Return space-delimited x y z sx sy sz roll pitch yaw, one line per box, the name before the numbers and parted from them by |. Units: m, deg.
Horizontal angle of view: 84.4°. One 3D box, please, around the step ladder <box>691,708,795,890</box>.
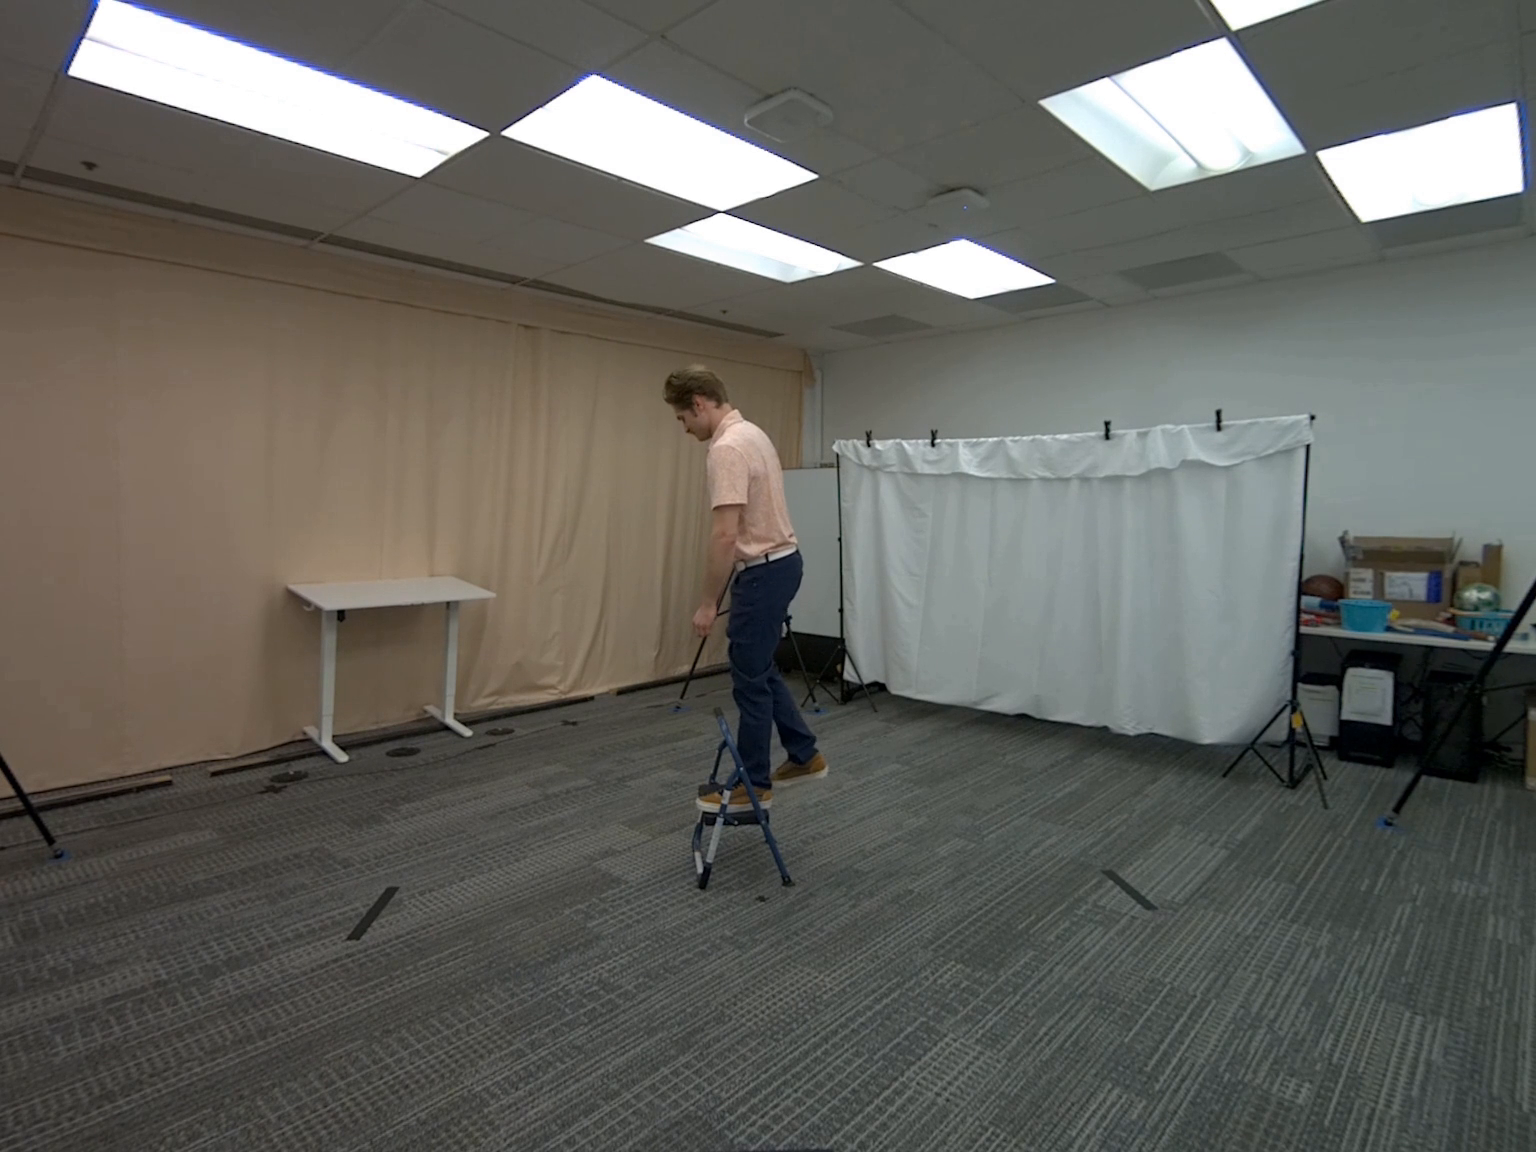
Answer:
step ladder | -0.116 0.822 3.260 0.346 0.605 0.435 -1 3 -8
